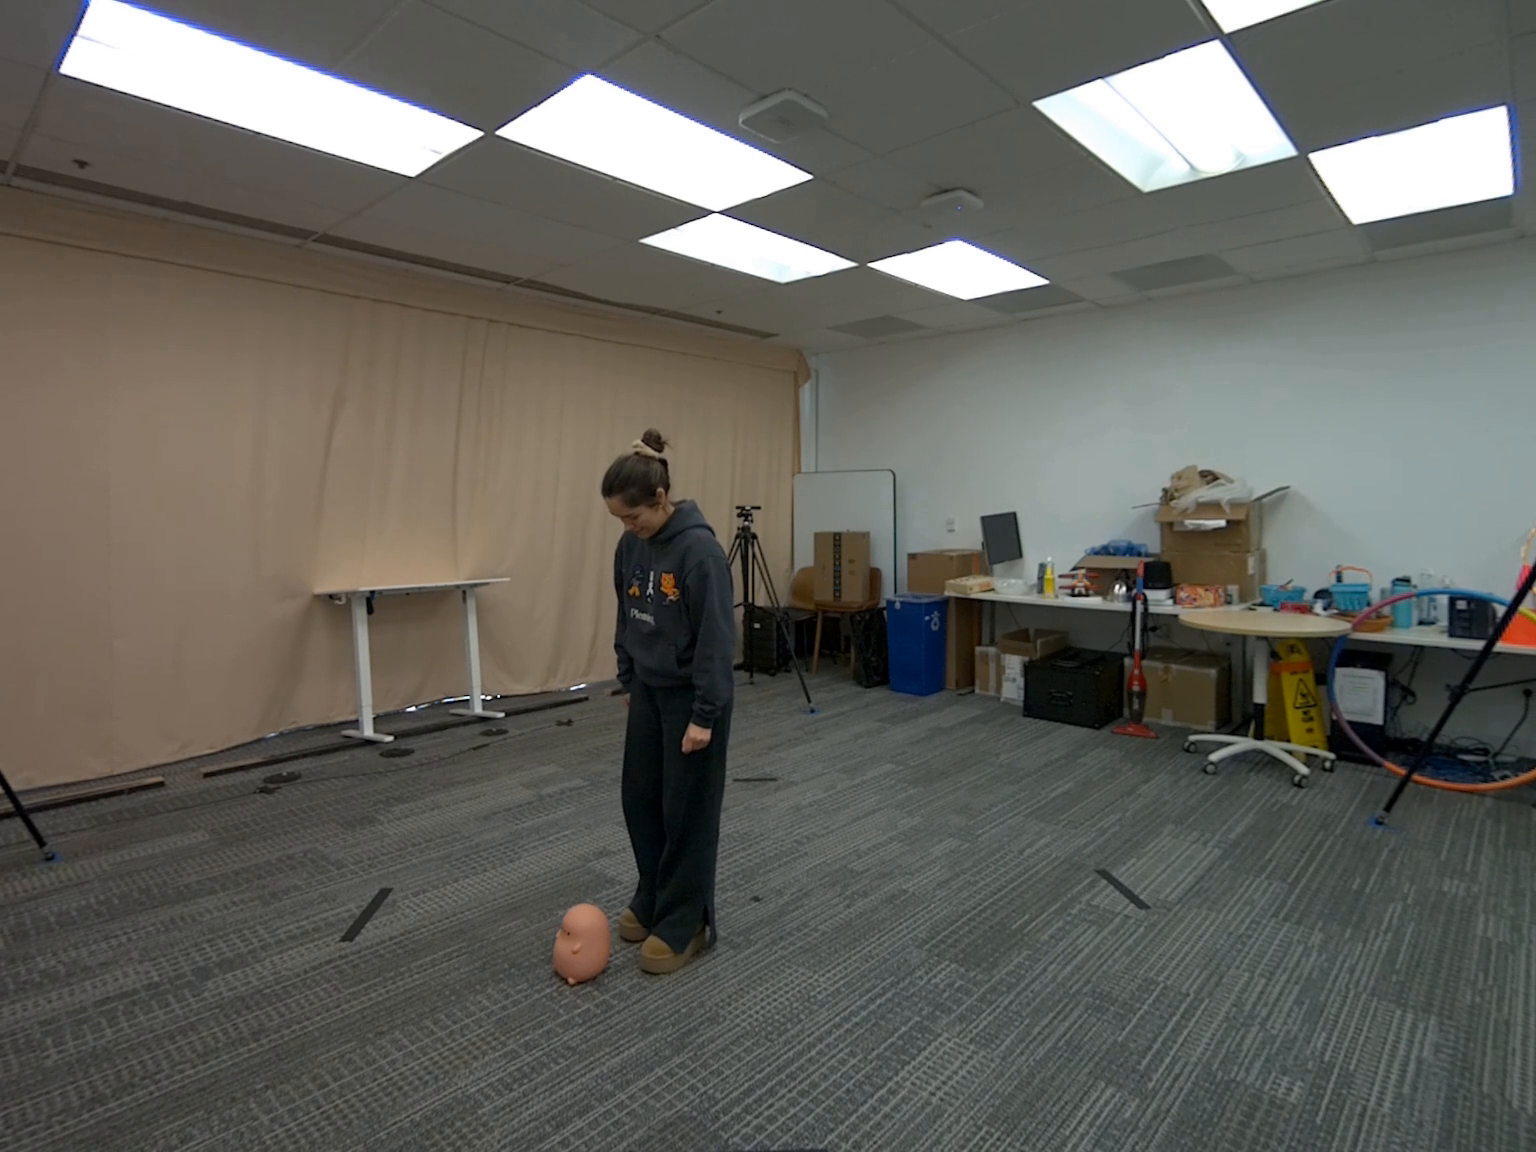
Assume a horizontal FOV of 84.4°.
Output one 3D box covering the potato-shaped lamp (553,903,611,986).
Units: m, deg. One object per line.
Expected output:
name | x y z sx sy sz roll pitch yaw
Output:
potato-shaped lamp | -0.532 1.091 2.520 0.166 0.197 0.170 -6 7 -40
